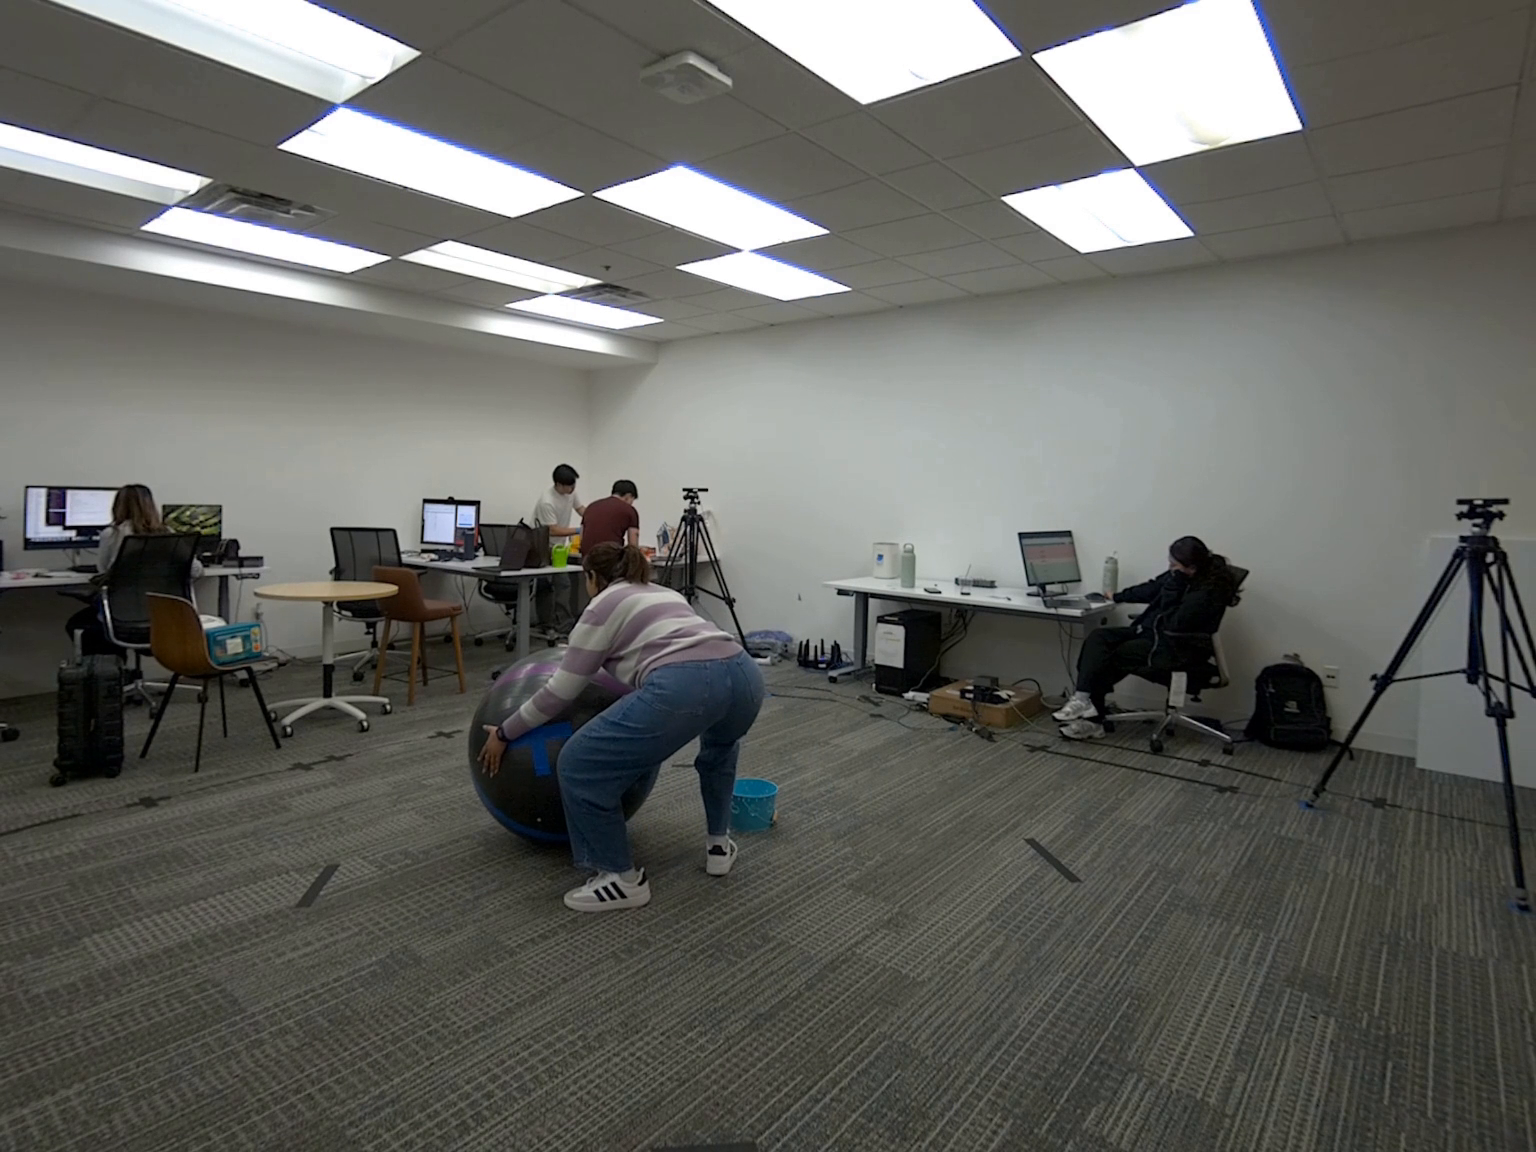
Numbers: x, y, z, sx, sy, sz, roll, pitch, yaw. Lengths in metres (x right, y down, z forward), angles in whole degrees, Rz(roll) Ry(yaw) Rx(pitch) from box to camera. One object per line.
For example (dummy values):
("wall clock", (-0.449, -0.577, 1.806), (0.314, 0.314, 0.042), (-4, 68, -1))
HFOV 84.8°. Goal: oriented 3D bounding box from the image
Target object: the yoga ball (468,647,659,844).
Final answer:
("yoga ball", (-0.808, 0.666, 3.355), (0.757, 0.756, 0.761), (1, 4, -2))
